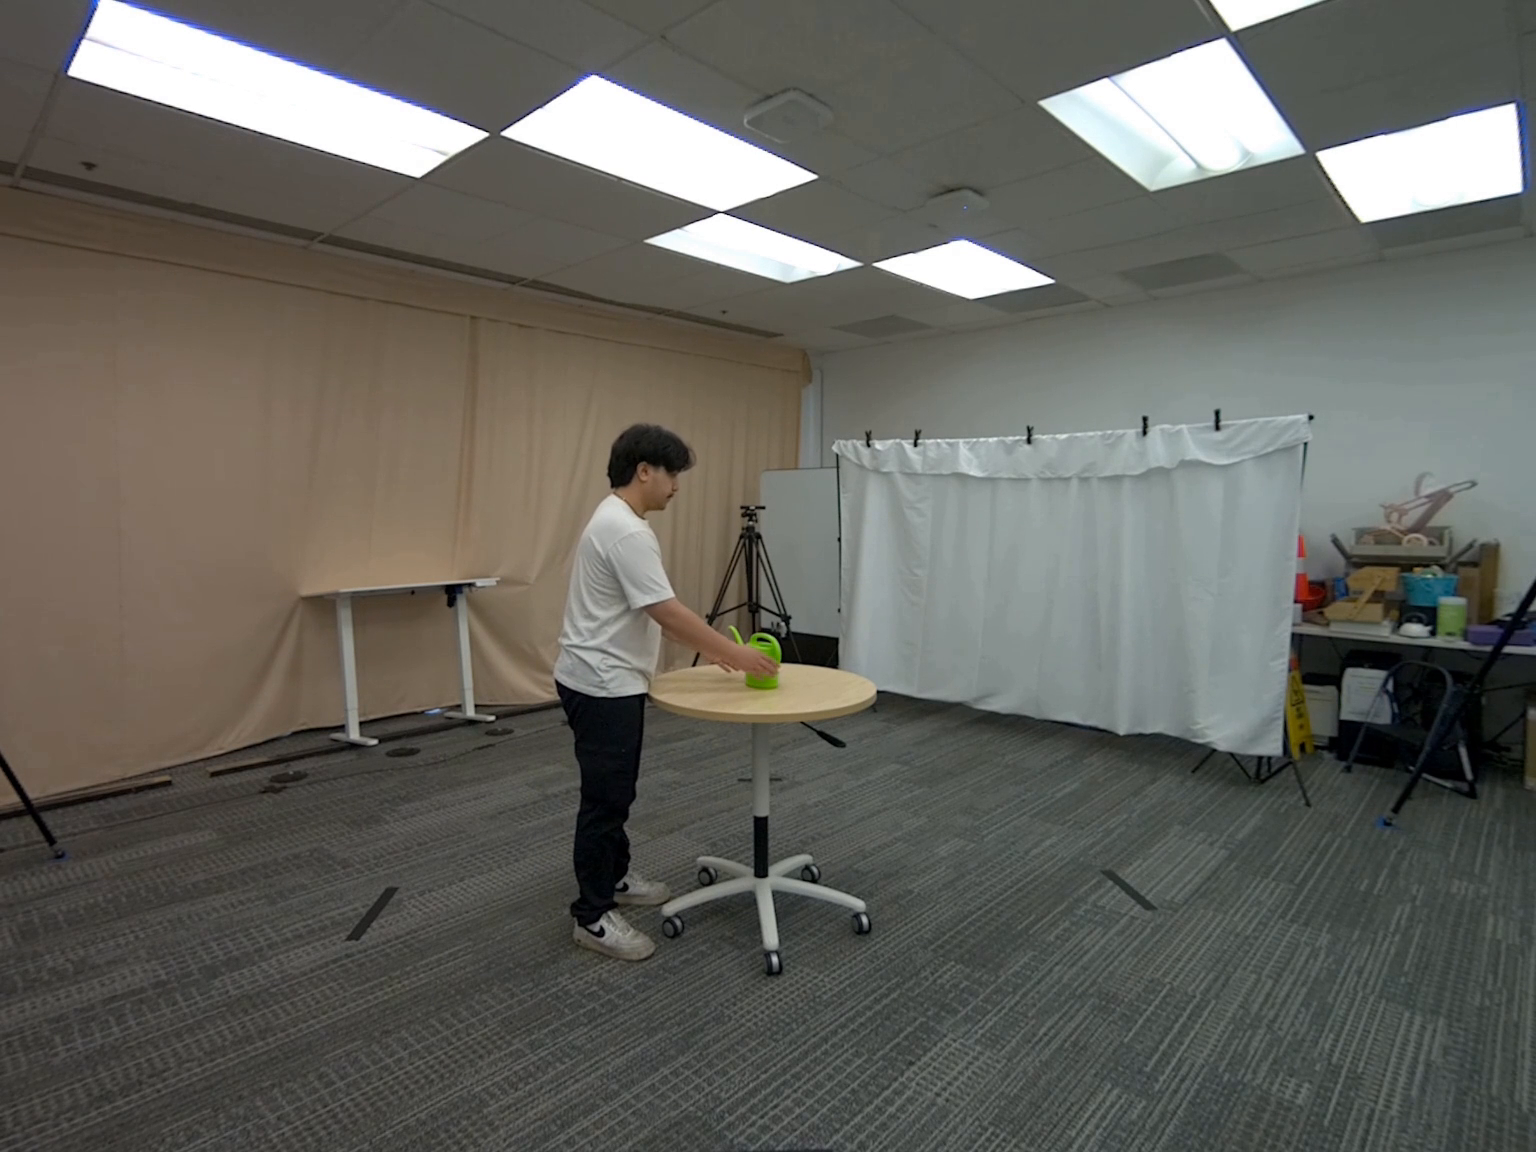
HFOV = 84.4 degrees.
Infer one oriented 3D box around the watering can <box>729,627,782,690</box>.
[{"bbox_3d":[-0.036,0.278,2.844,0.096,0.176,0.286,1,5,-25],"label":"watering can"}]
